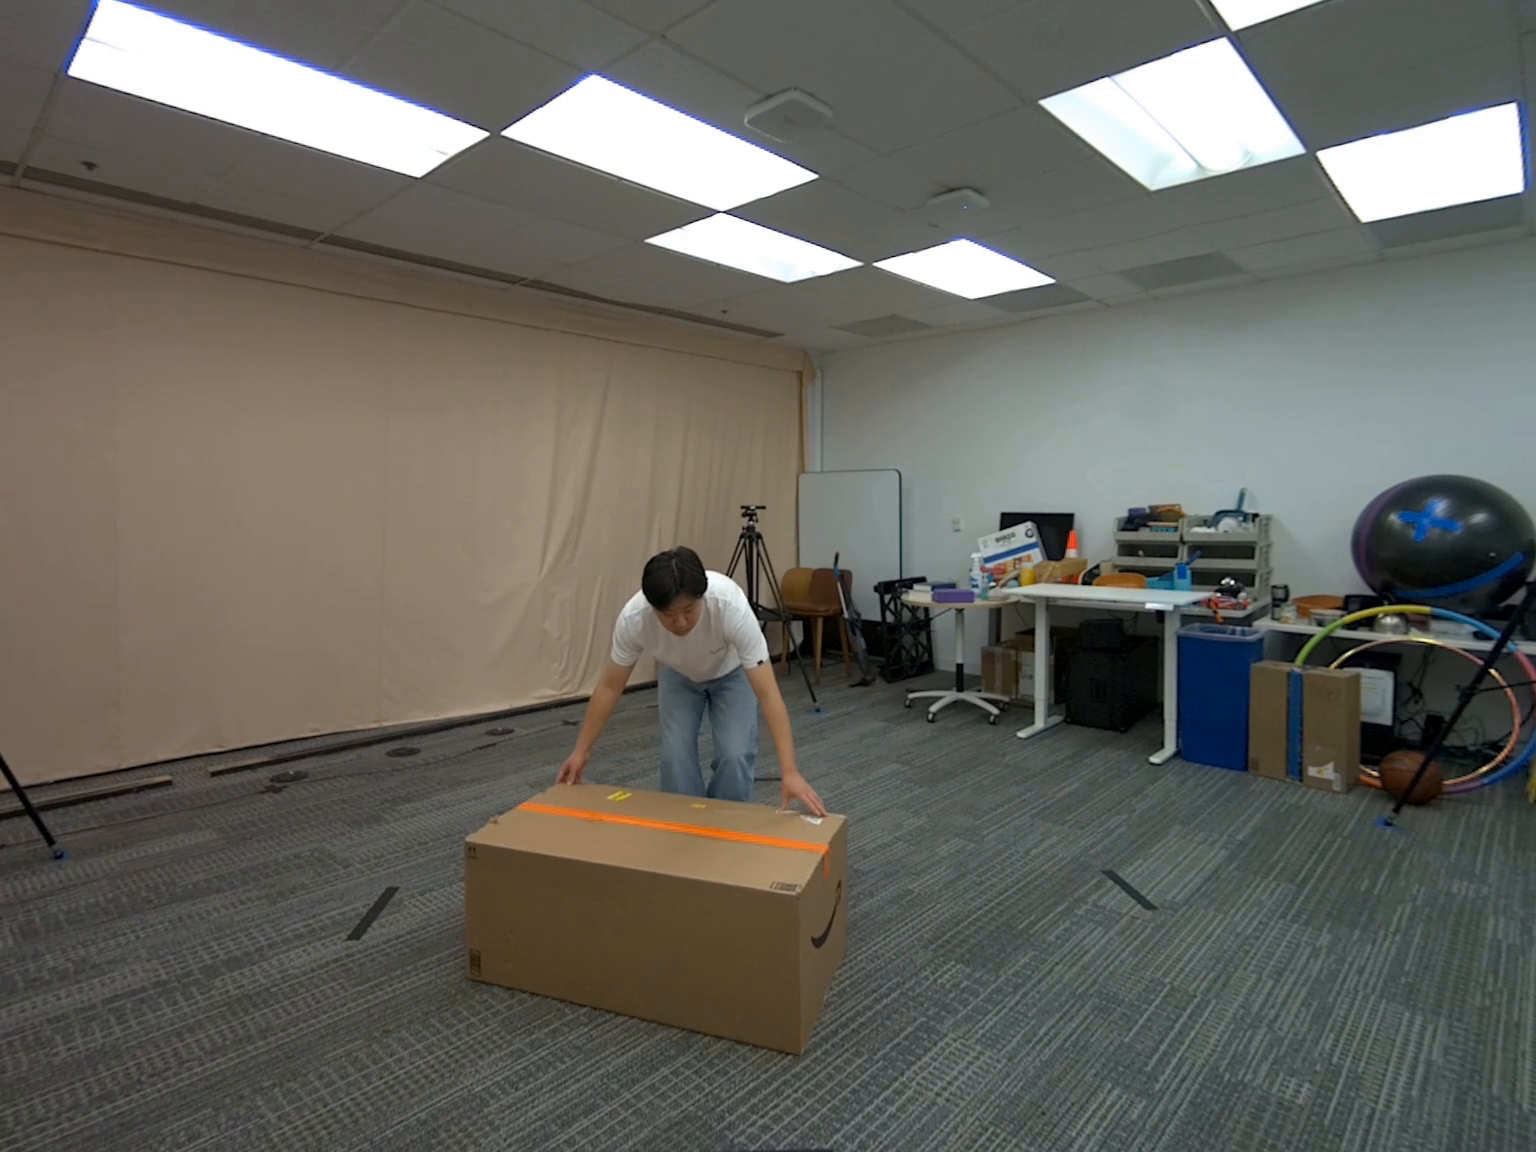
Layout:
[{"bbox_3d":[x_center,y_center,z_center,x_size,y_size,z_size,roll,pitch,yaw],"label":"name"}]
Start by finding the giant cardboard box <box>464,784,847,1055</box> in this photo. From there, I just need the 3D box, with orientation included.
[{"bbox_3d":[-0.319,0.965,2.558,1.048,0.425,0.566,1,3,20],"label":"giant cardboard box"}]
